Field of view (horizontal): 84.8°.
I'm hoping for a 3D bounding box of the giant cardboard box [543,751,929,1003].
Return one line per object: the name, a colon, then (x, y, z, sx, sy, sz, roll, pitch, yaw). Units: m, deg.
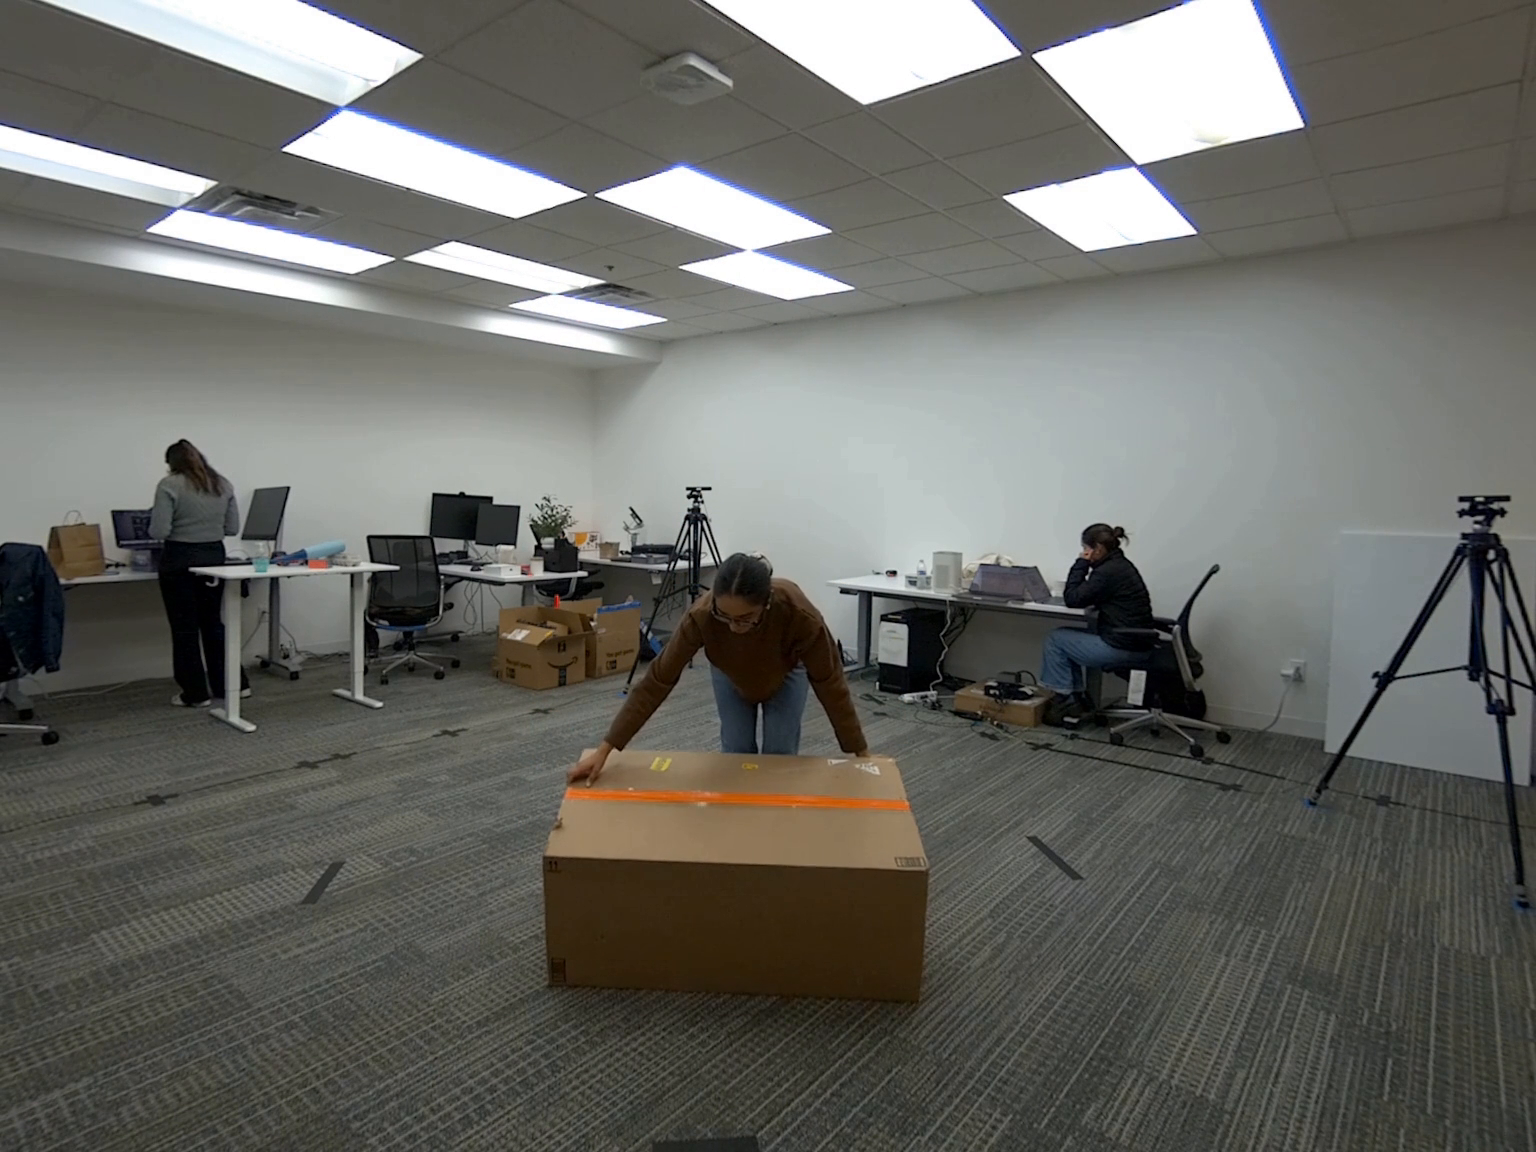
giant cardboard box: (-0.106, 0.859, 2.558, 1.028, 0.421, 0.584, 1, 14, 1)
